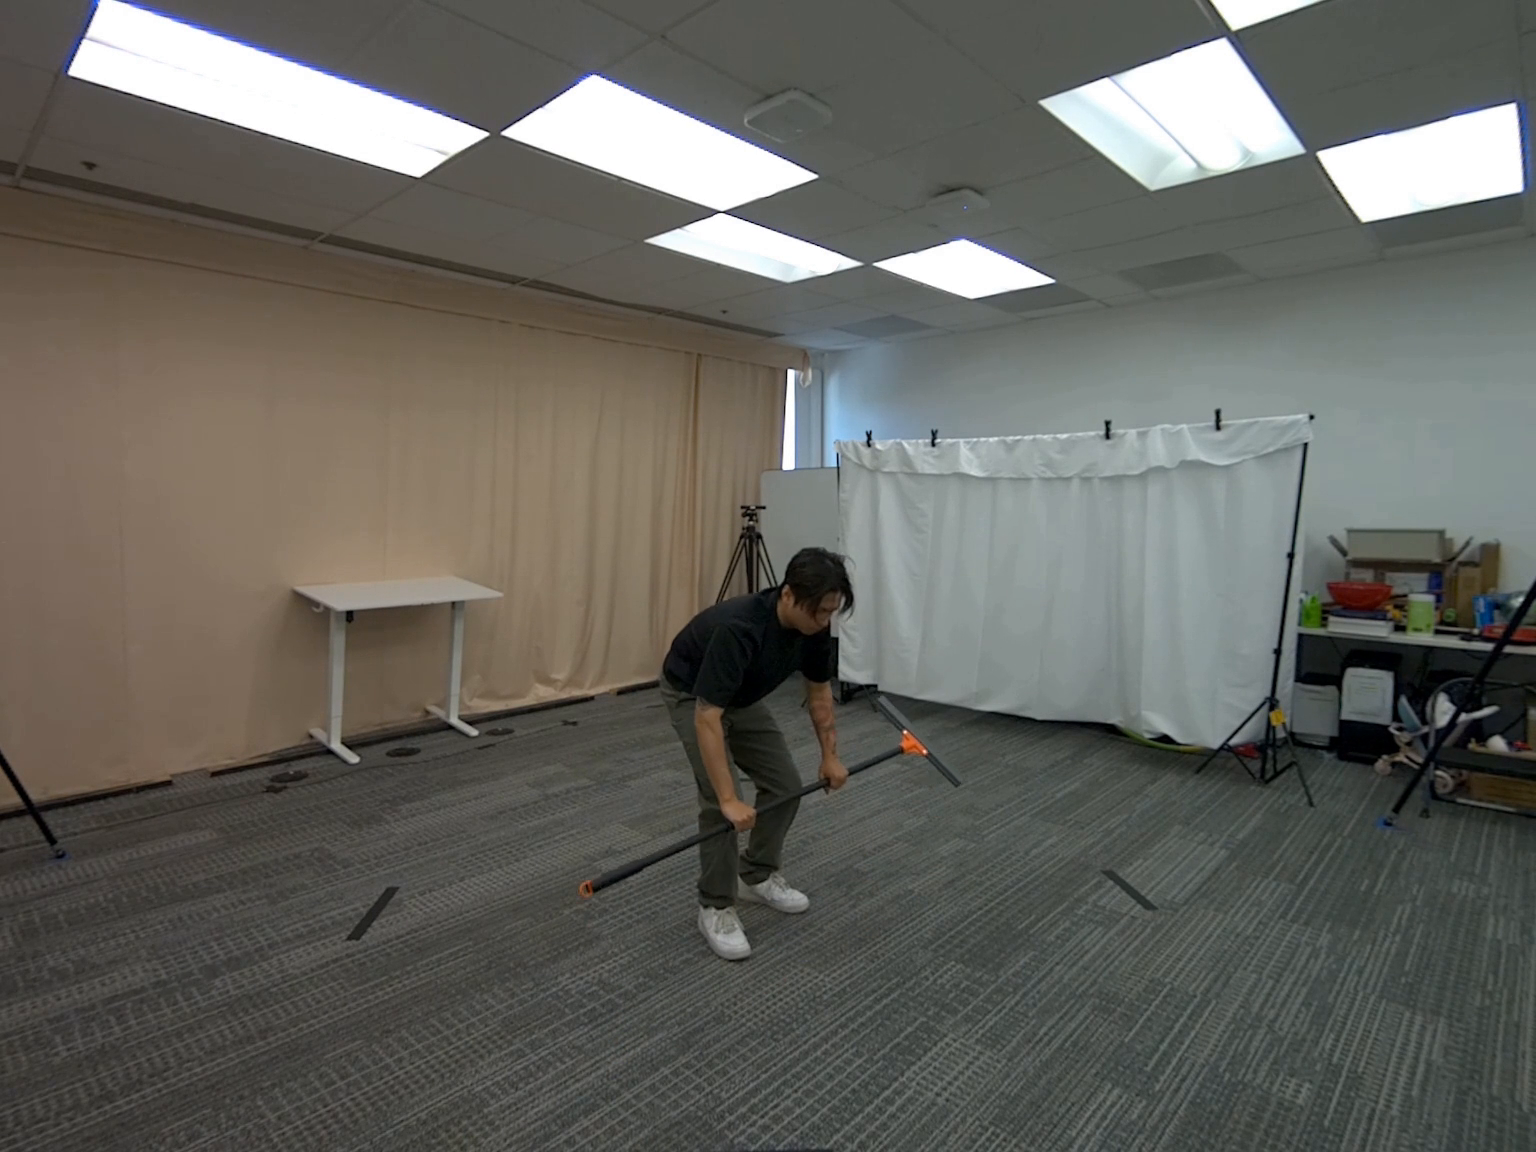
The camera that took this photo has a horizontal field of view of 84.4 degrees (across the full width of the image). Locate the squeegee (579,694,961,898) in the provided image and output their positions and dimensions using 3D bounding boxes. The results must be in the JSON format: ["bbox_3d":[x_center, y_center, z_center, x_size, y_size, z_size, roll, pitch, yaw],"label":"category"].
[{"bbox_3d":[0.069,0.700,2.641,1.493,0.053,0.451,-10,45,-44],"label":"squeegee"}]
